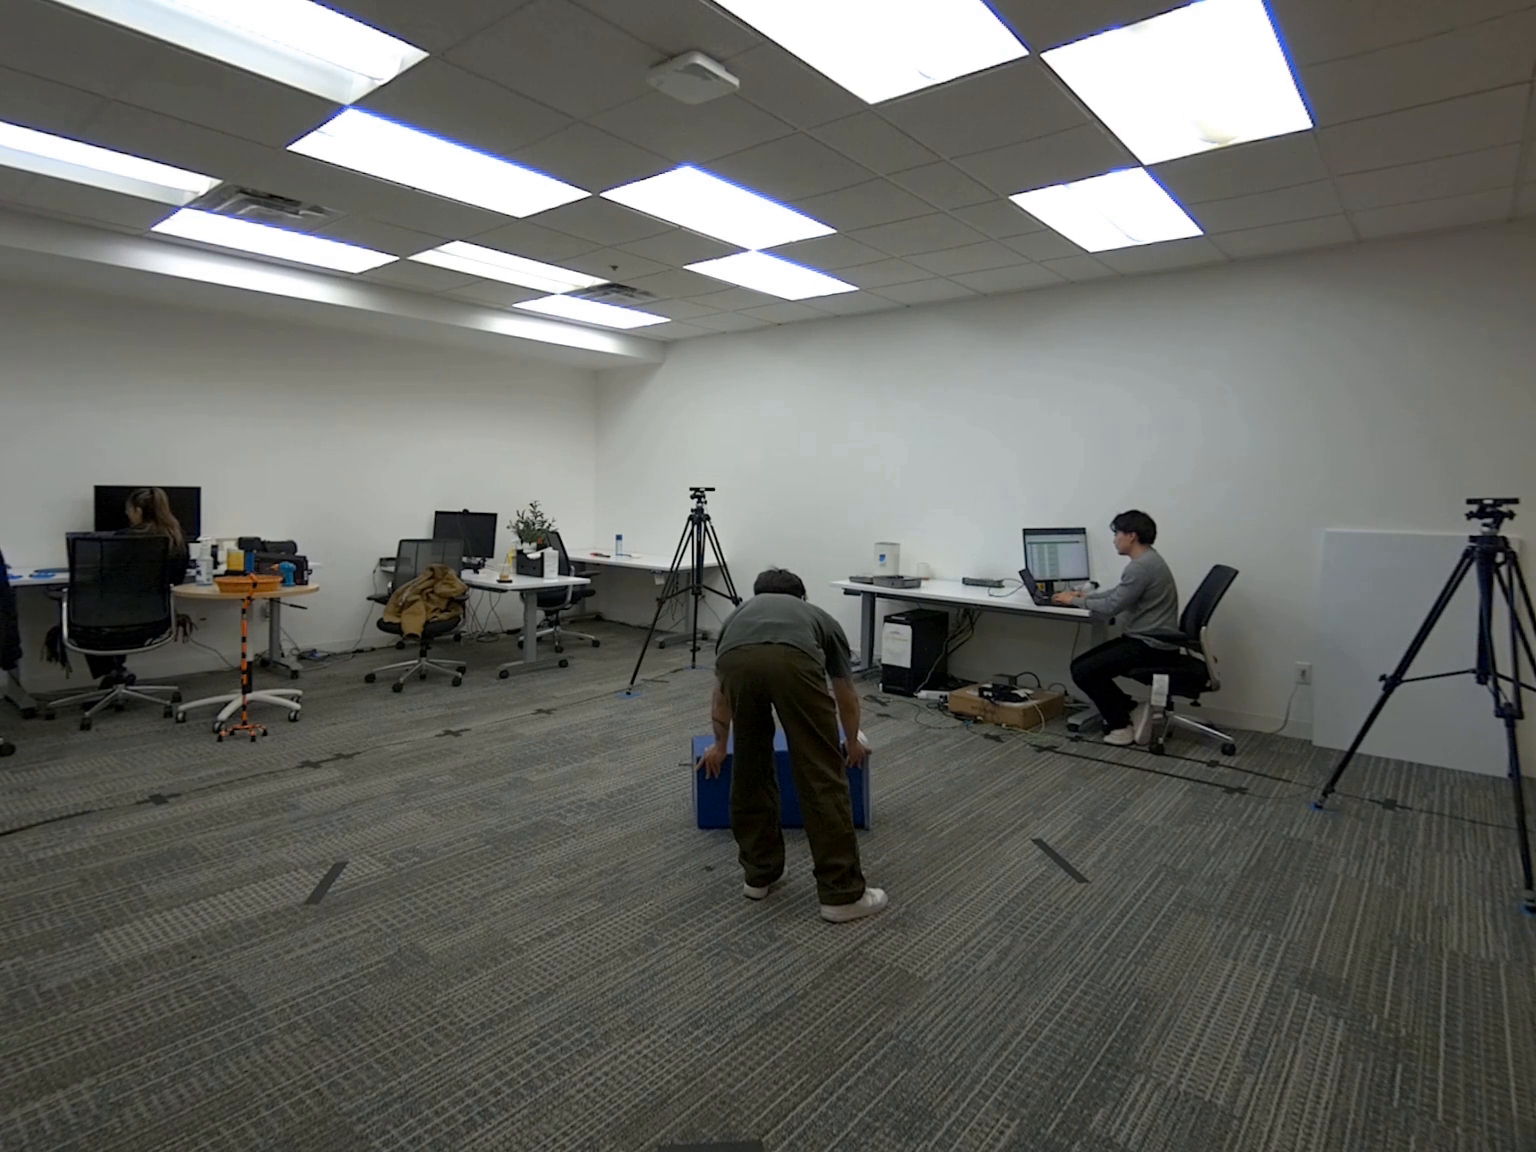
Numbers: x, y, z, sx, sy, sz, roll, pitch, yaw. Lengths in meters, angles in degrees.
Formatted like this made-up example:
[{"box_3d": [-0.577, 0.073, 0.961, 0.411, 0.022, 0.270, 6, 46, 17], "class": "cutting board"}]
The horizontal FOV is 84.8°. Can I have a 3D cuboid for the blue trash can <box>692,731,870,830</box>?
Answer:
[{"box_3d": [0.031, 0.841, 3.629, 0.709, 0.373, 0.382, -1, 4, -6], "class": "blue trash can"}]
